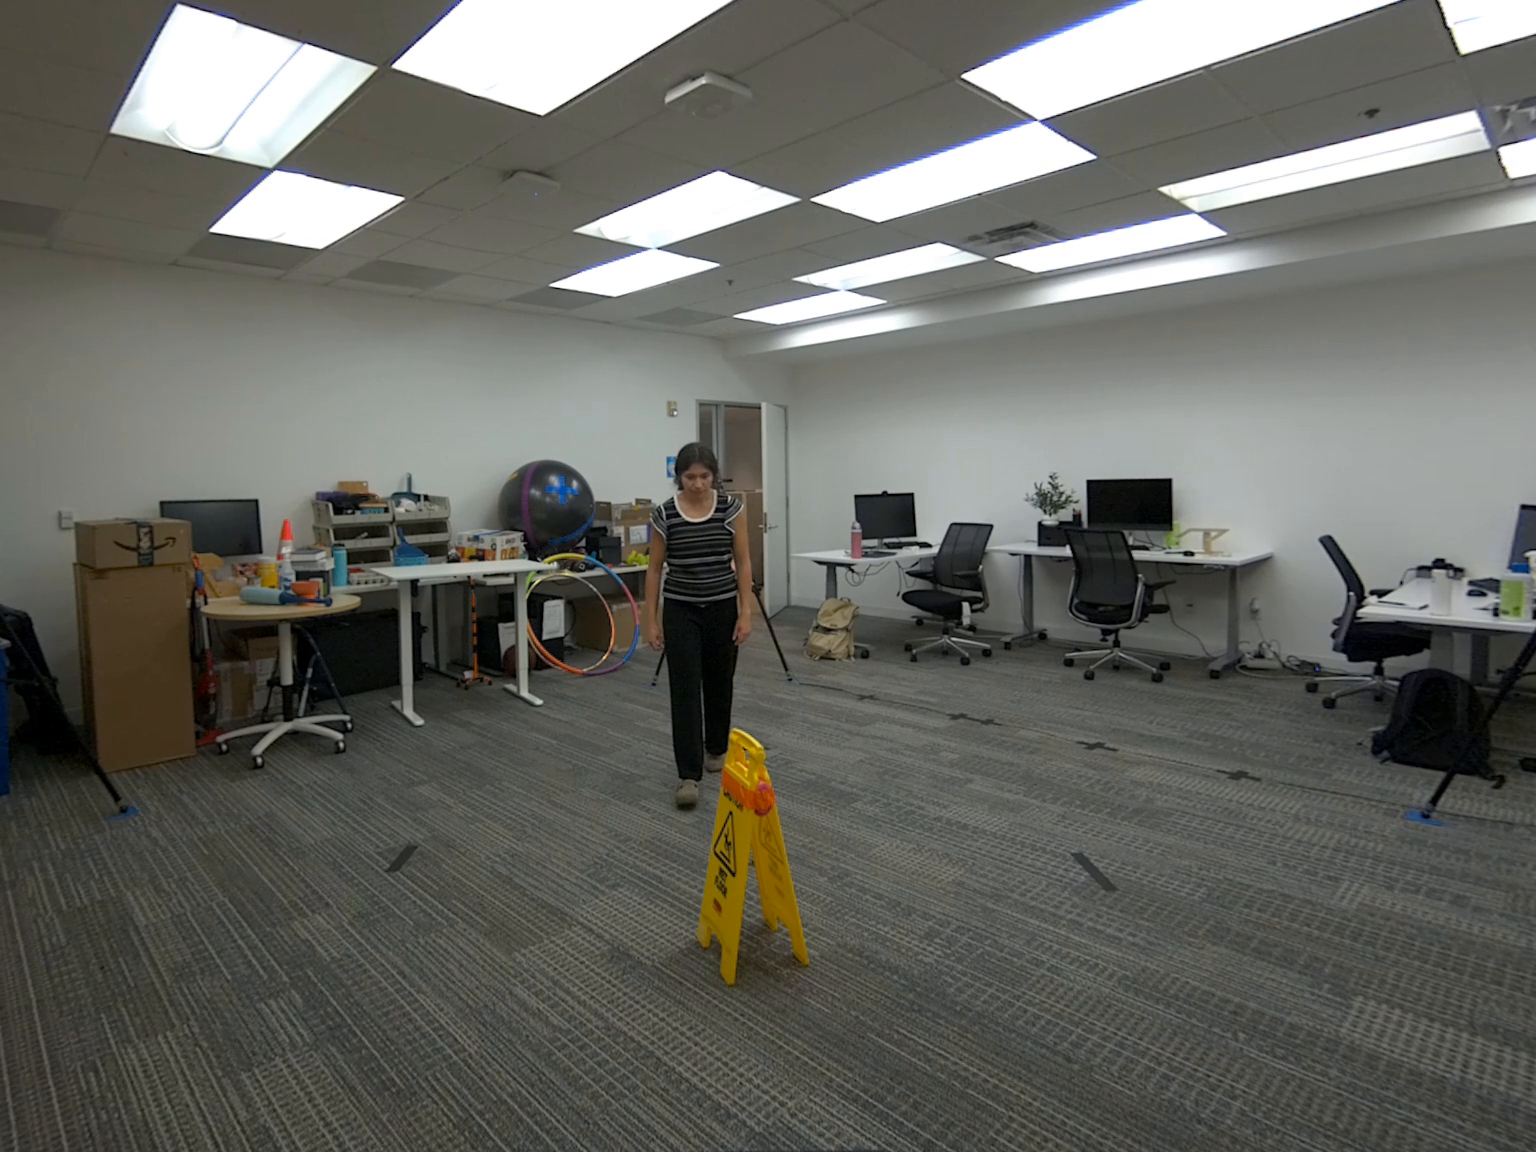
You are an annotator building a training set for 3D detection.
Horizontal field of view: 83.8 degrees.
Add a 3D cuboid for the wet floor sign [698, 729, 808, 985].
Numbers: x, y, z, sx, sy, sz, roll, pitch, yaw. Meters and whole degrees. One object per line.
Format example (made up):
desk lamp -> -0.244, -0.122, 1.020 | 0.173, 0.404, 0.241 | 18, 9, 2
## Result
wet floor sign -> -0.057, 0.795, 2.502 | 0.284, 0.643, 0.289 | -3, 5, -22
